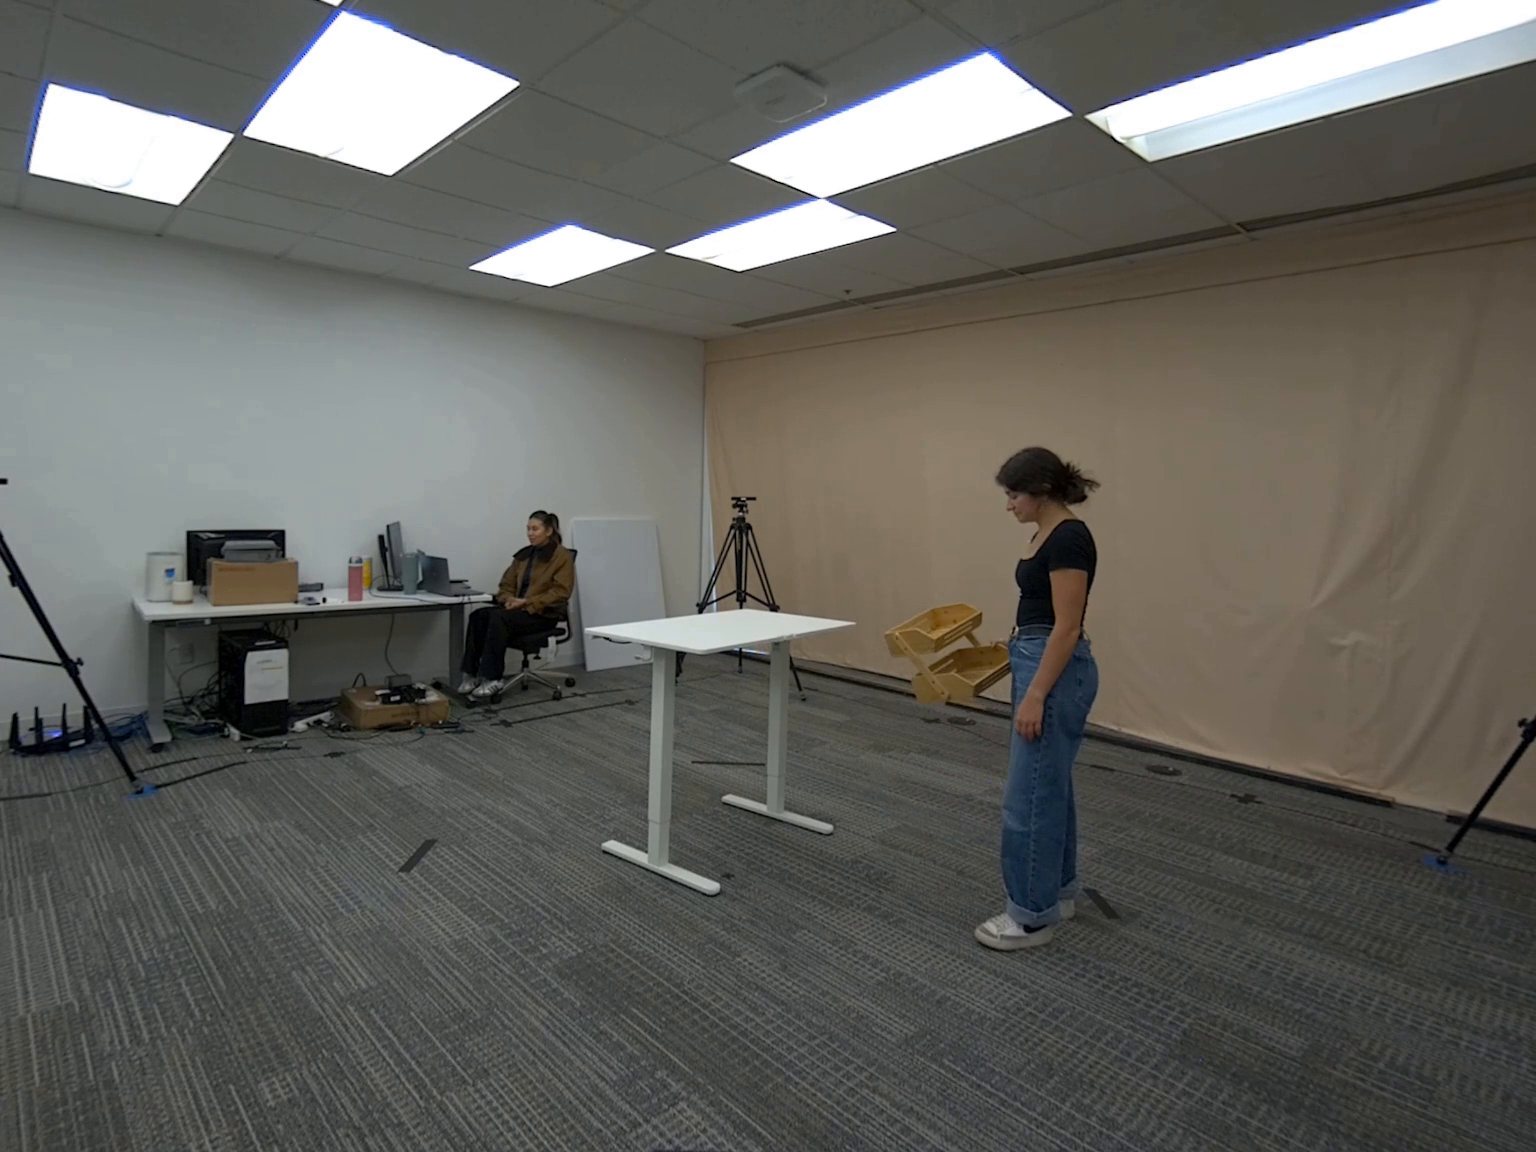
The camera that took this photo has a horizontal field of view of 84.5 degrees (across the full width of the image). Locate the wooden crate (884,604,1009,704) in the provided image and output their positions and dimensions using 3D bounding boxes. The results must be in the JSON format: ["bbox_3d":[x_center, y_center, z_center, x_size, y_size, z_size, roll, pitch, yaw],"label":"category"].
[{"bbox_3d":[0.648,0.259,2.949,0.320,0.273,0.307,-21,3,-40],"label":"wooden crate"}]
